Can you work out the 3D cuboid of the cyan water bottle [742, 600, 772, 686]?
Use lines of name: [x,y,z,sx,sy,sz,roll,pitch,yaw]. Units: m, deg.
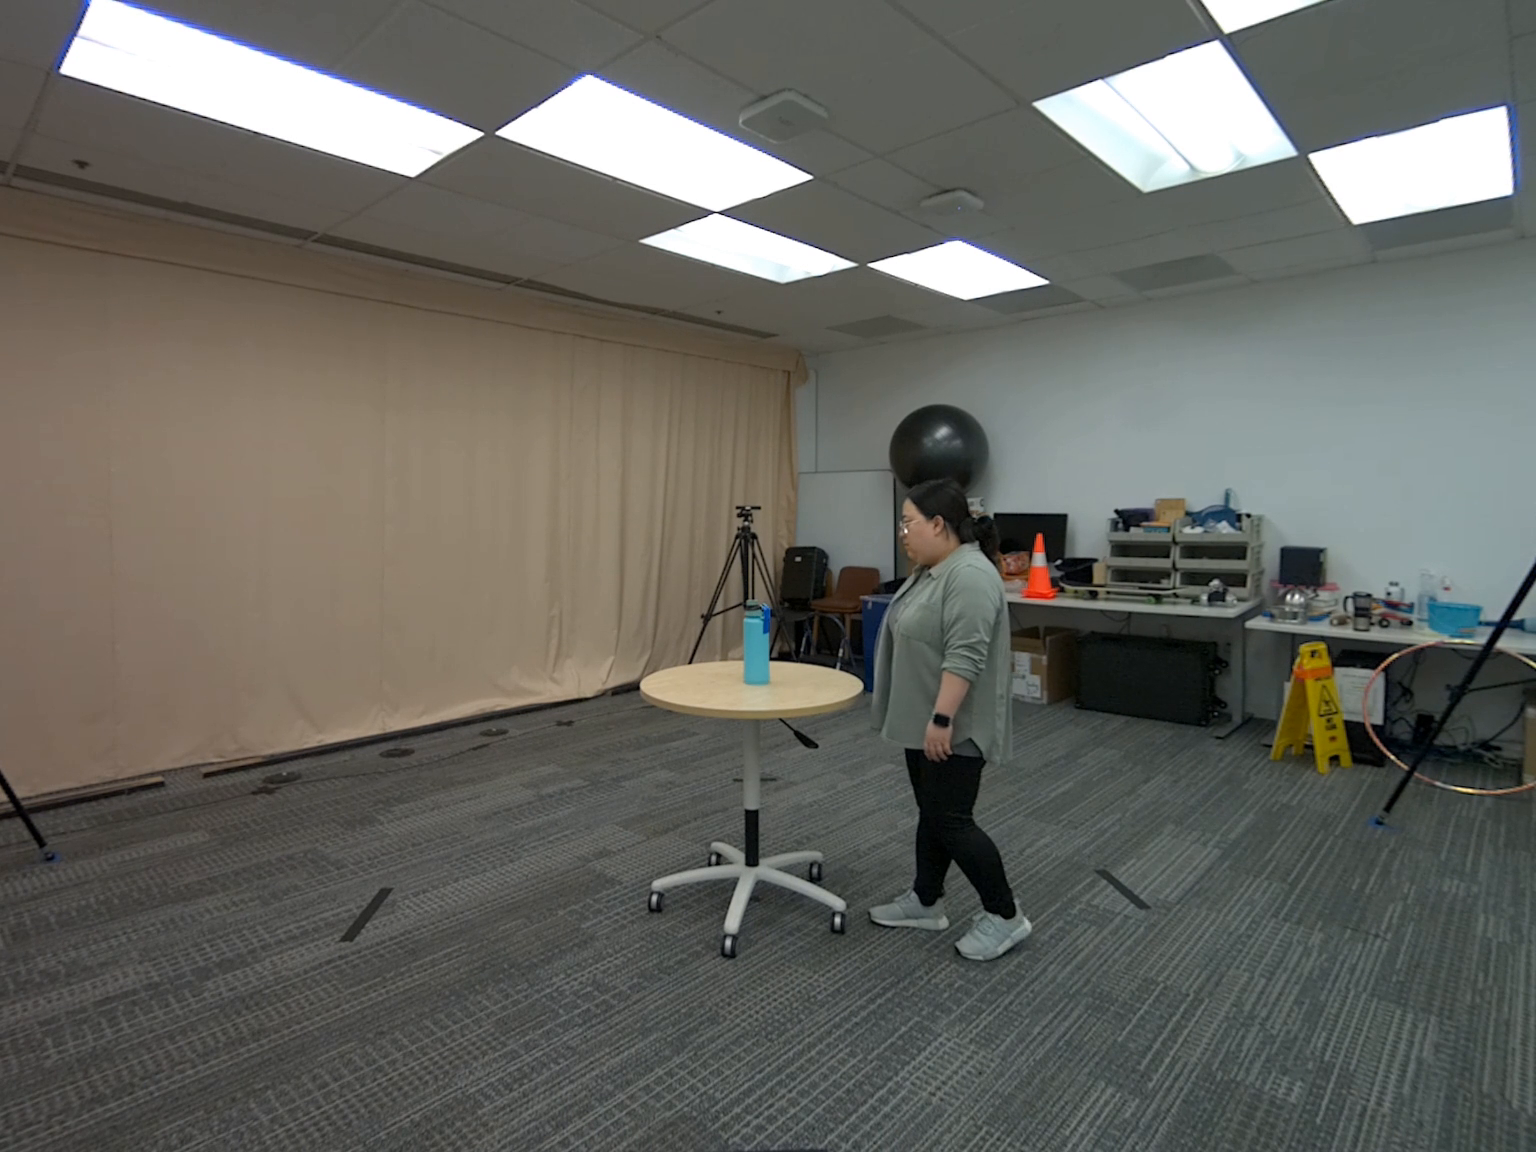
cyan water bottle: [-0.031,0.233,2.895,0.092,0.282,0.093,0,5,-2]
